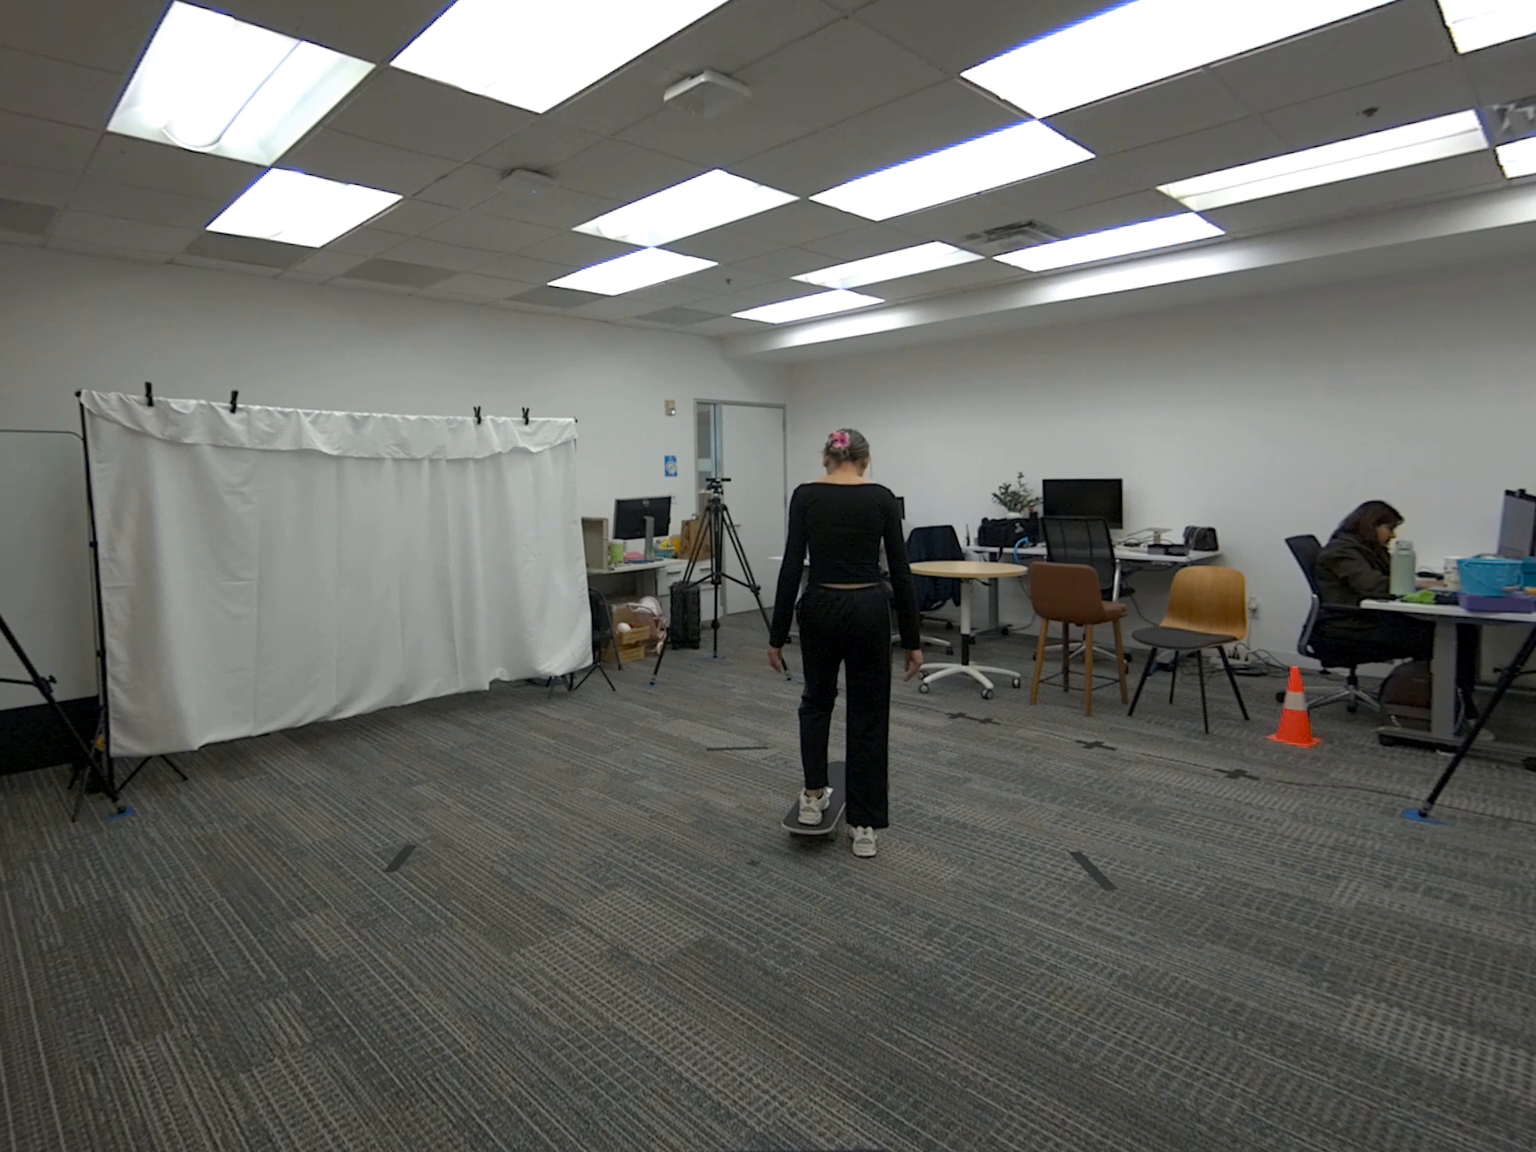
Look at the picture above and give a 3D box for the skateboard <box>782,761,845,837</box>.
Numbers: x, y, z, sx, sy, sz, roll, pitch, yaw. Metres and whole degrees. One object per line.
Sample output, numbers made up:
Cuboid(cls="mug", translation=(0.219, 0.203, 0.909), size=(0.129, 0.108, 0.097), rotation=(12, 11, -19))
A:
Cuboid(cls="skateboard", translation=(0.226, 0.935, 3.495), size=(0.196, 0.110, 0.777), rotation=(0, 7, 15))
